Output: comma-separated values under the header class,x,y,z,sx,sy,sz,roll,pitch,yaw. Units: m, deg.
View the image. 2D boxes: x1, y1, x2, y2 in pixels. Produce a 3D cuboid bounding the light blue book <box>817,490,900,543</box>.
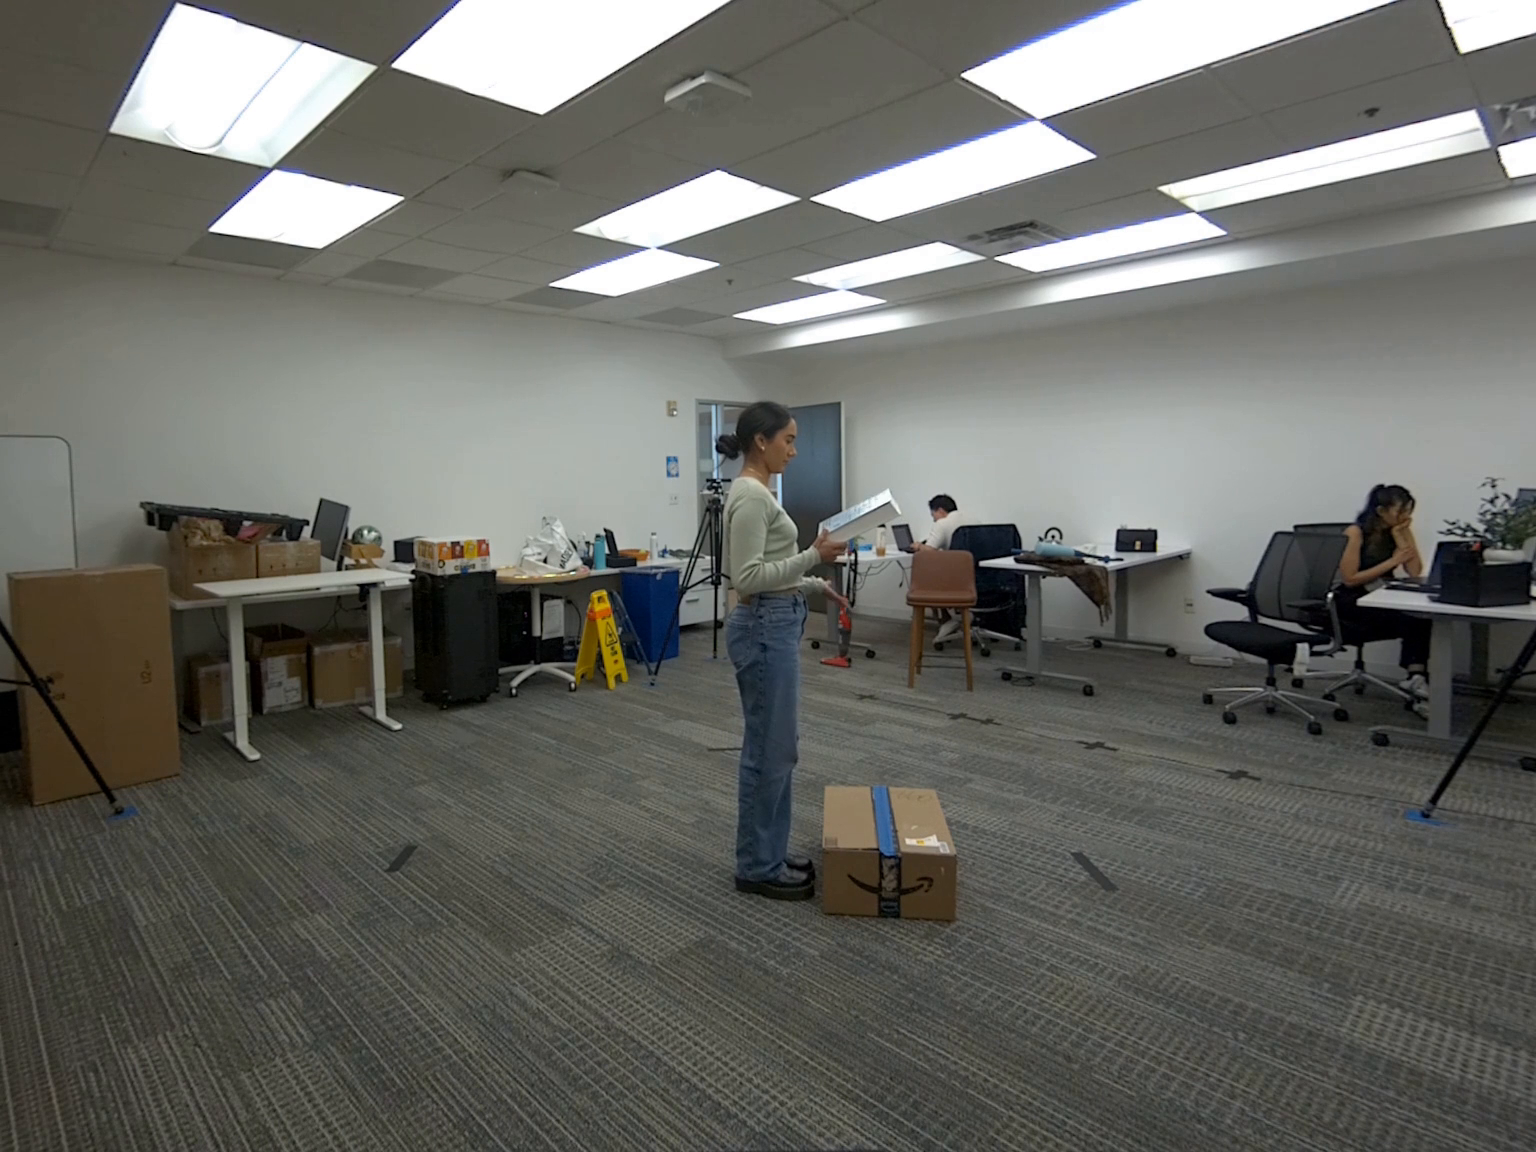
class,x,y,z,sx,sy,sz,roll,pitch,yaw
light blue book,0.301,-0.183,2.787,0.262,0.058,0.193,-27,13,10
